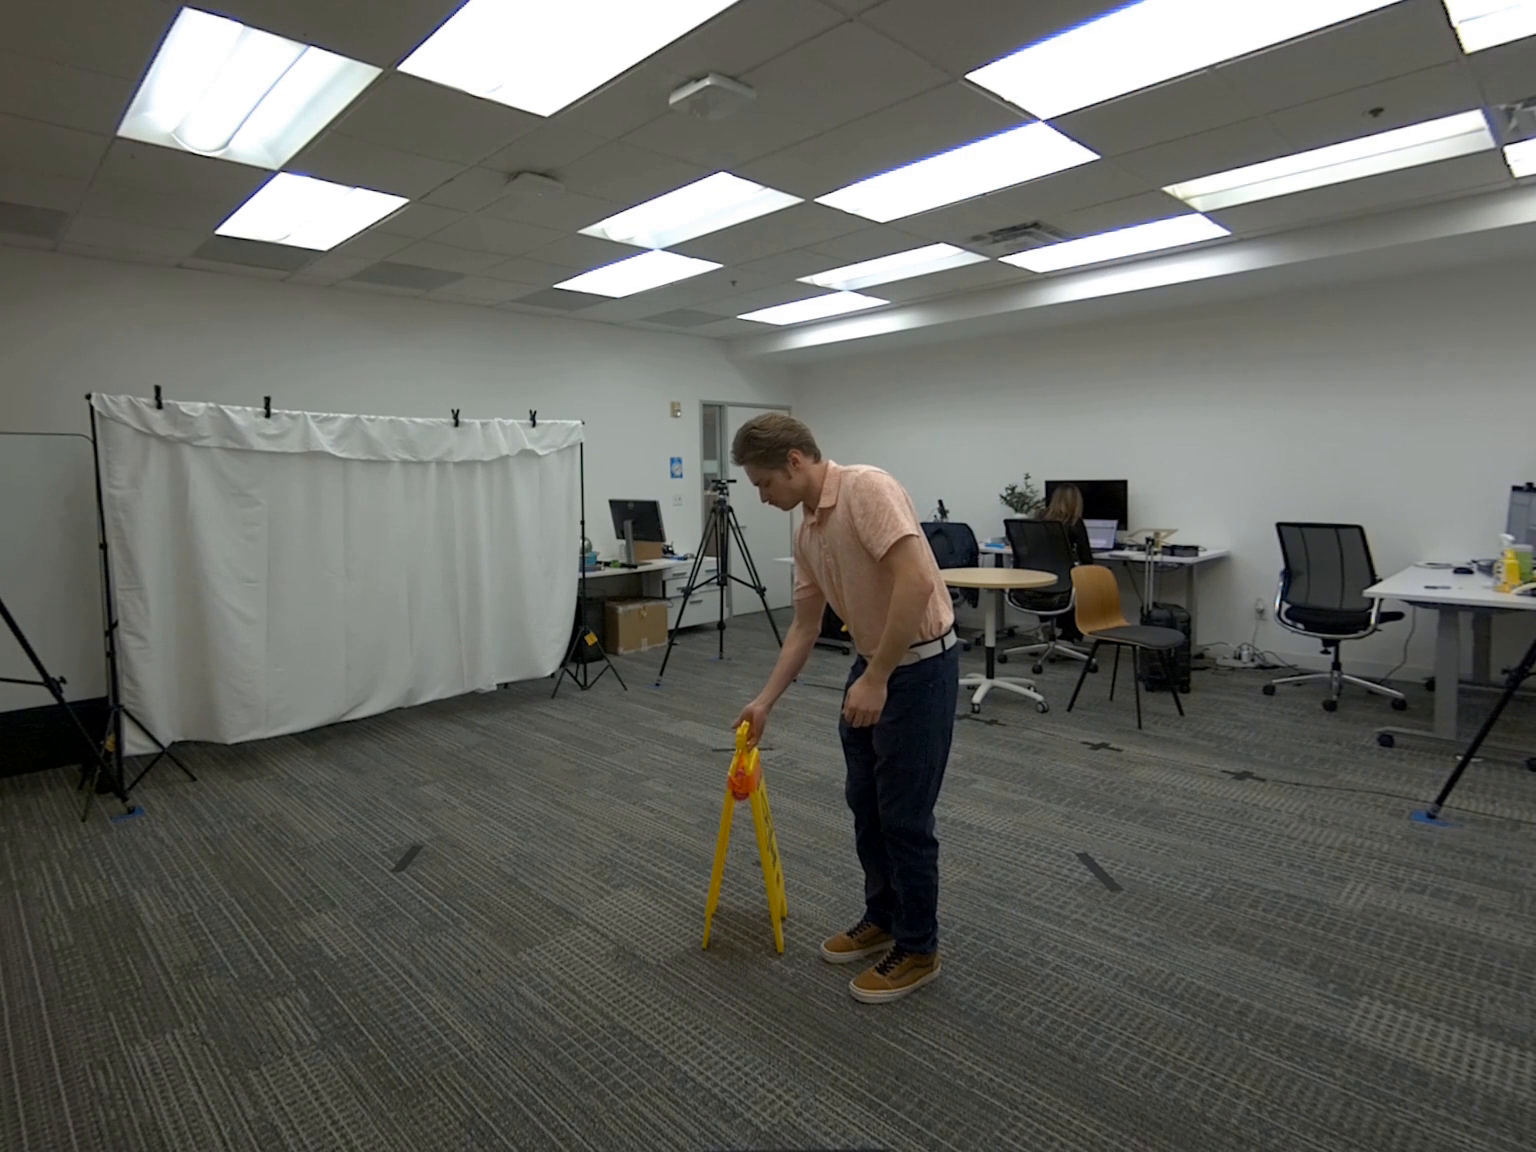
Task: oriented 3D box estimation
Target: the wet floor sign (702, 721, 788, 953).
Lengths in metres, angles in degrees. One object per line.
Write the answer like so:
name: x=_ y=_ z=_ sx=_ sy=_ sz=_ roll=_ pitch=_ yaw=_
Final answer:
wet floor sign: x=-0.074 y=0.774 z=2.640 sx=0.291 sy=0.644 sz=0.281 roll=-2 pitch=3 yaw=6
